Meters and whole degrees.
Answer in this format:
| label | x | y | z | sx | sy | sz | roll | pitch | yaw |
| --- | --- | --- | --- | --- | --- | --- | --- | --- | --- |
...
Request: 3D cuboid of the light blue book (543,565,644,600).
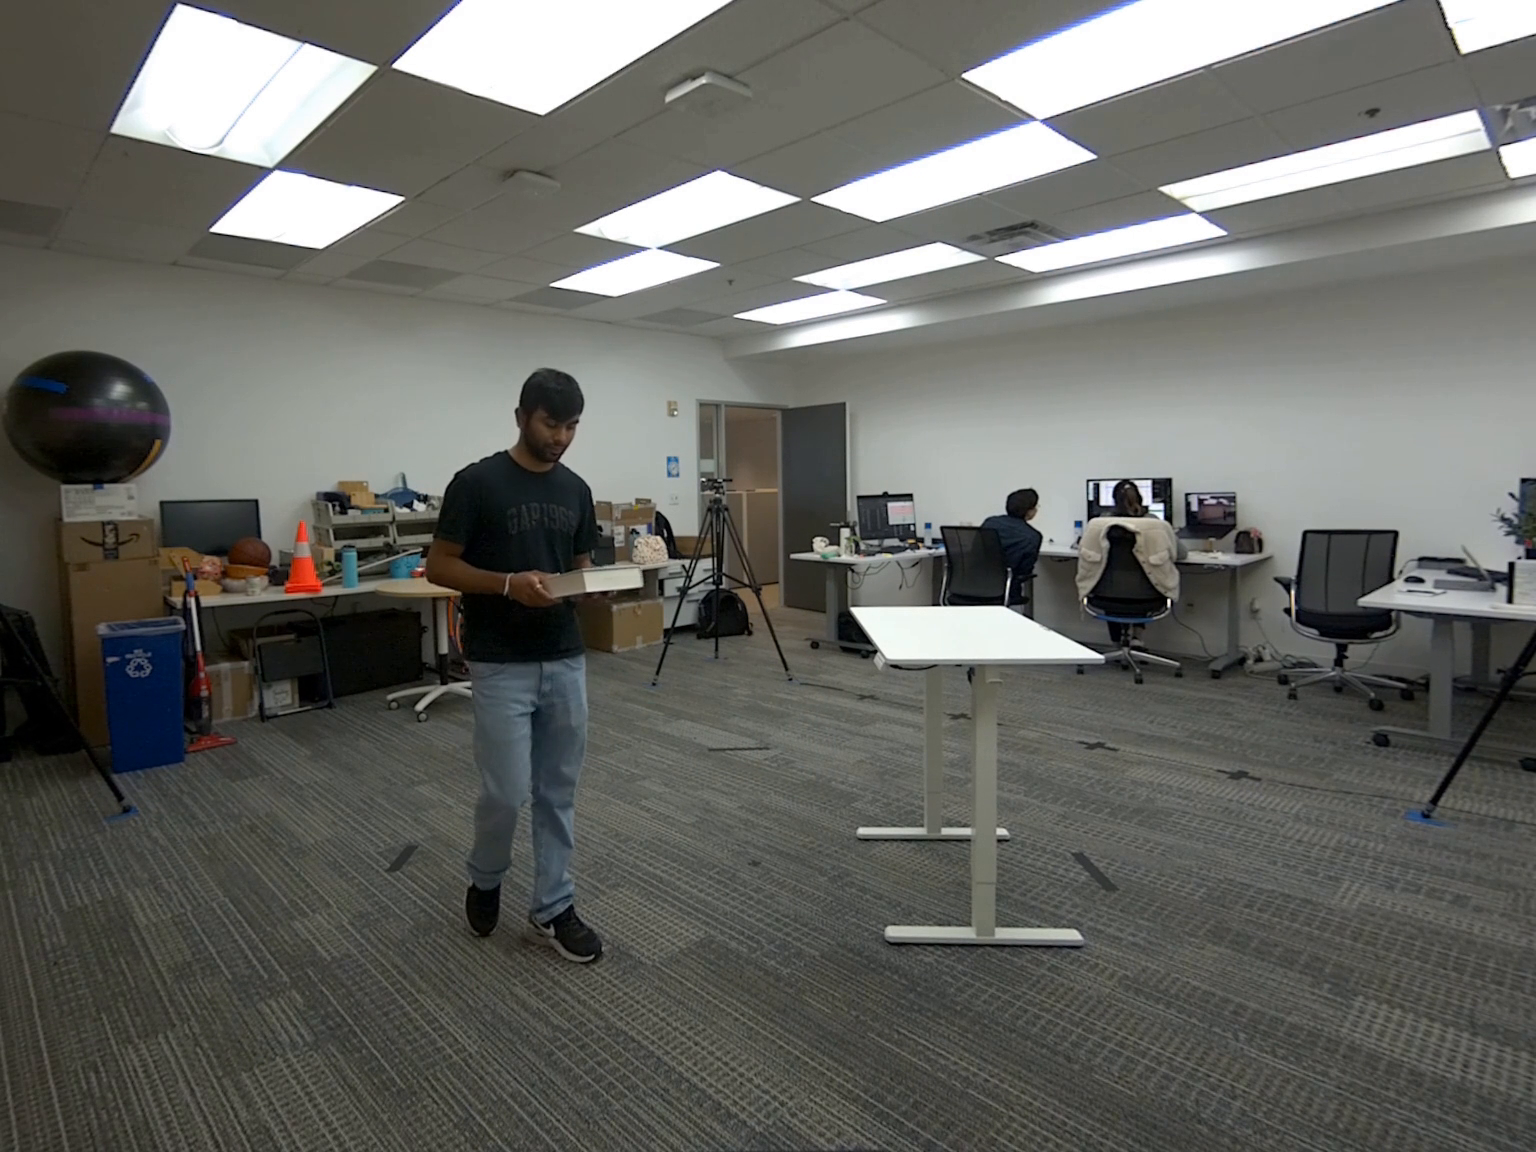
| label | x | y | z | sx | sy | sz | roll | pitch | yaw |
| --- | --- | --- | --- | --- | --- | --- | --- | --- | --- |
| light blue book | -0.497 | 0.025 | 2.328 | 0.186 | 0.059 | 0.267 | -5 | -3 | -44 |
